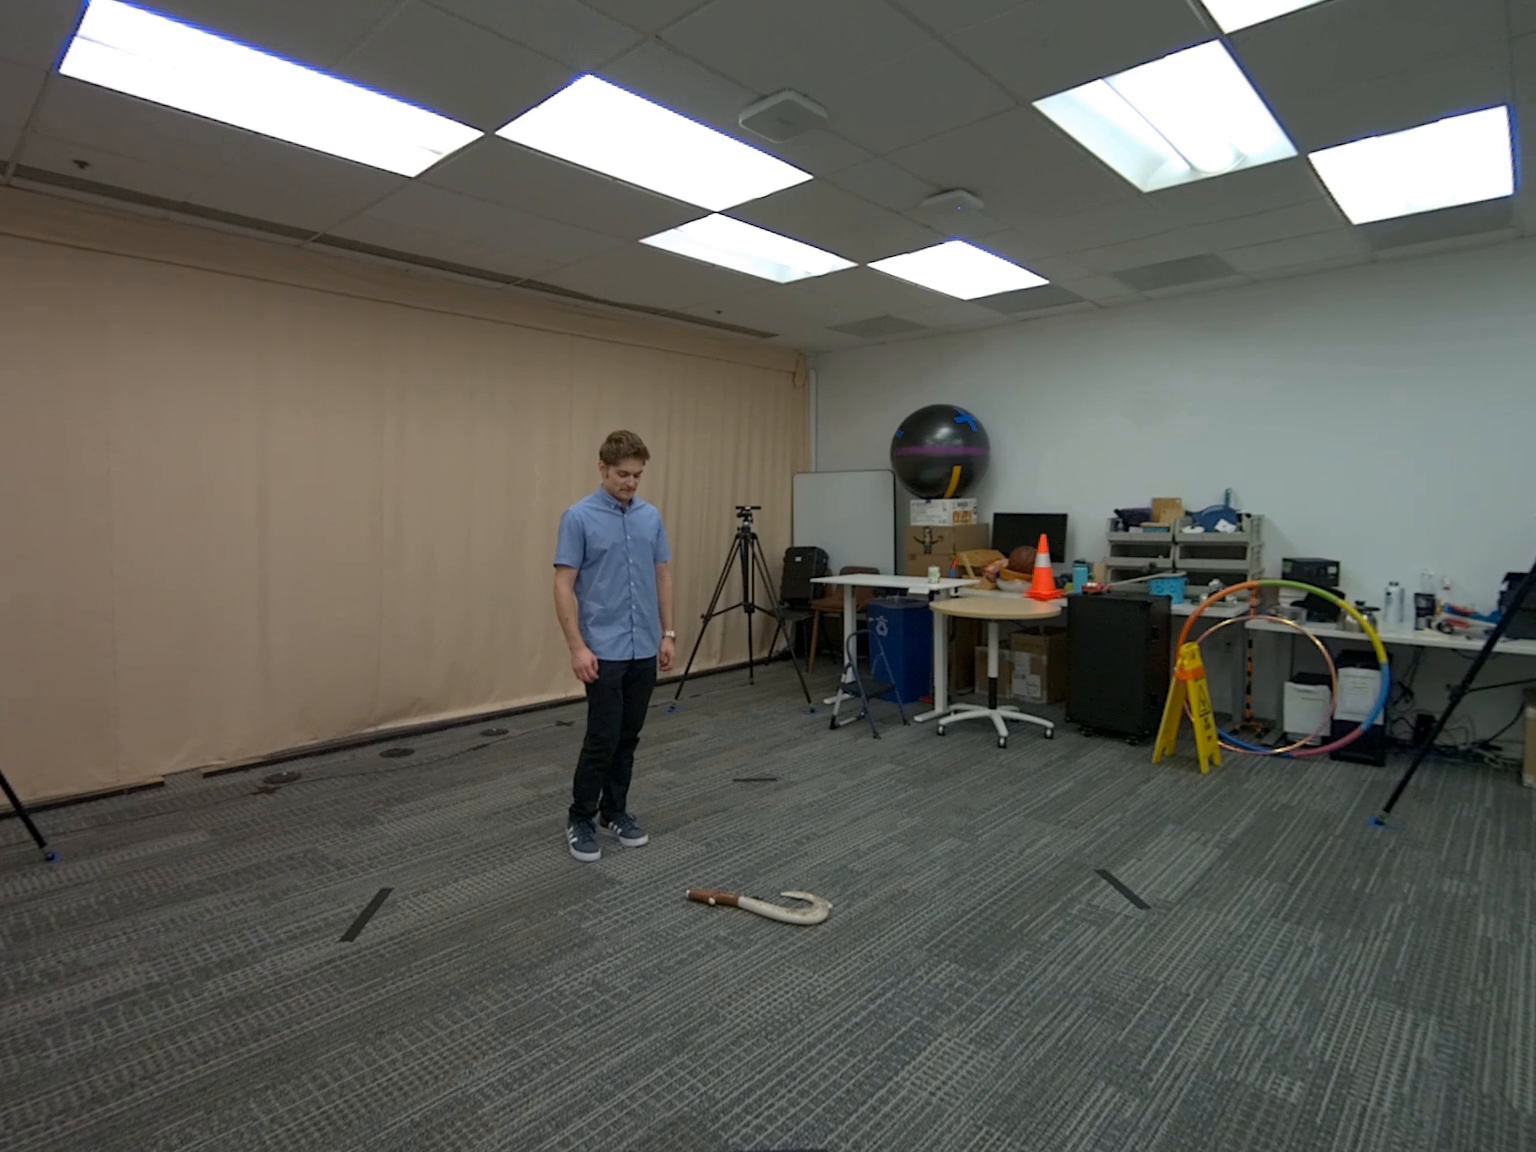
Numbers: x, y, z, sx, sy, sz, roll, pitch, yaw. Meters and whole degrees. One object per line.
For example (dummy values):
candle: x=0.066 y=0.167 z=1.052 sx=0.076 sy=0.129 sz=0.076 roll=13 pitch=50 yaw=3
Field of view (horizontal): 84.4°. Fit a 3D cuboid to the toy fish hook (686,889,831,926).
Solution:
toy fish hook: x=-0.036 y=1.134 z=2.941 sx=0.517 sy=0.048 sz=0.219 roll=2 pitch=-3 yaw=20
